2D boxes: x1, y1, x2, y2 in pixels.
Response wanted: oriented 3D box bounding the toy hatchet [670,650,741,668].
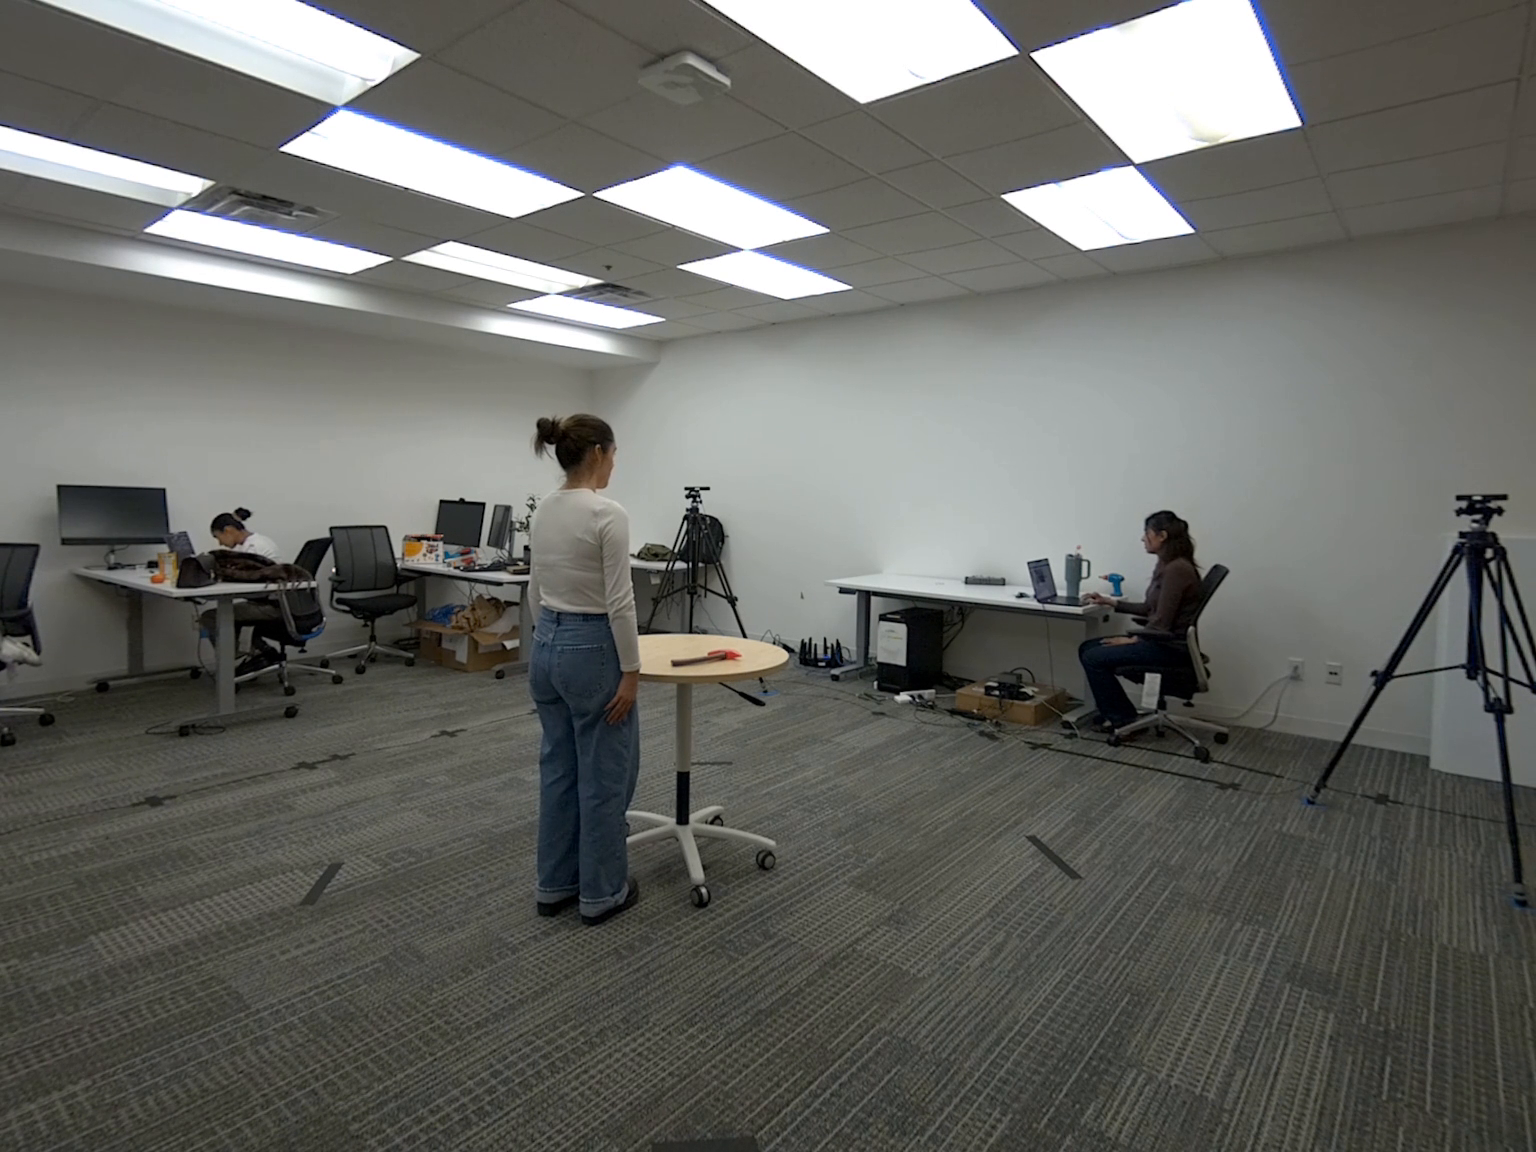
[{"bbox_3d":[-0.238,0.285,3.000,0.263,0.029,0.135,-4,7,-30],"label":"toy hatchet"}]
